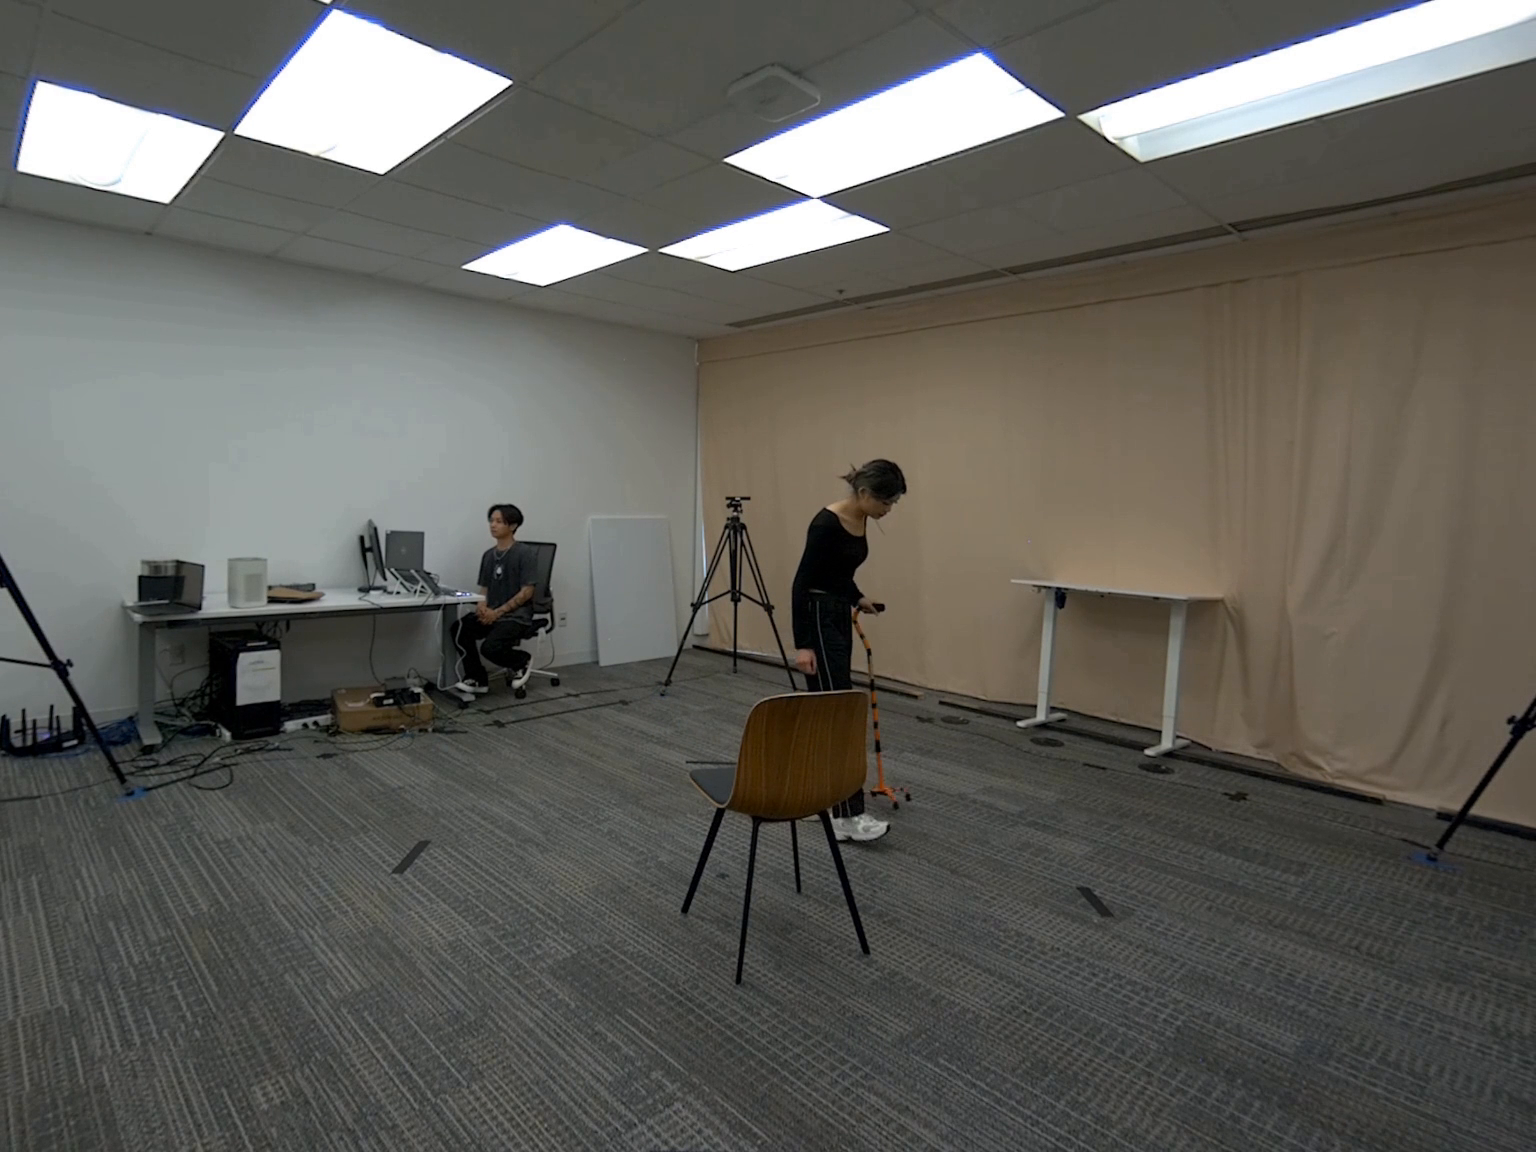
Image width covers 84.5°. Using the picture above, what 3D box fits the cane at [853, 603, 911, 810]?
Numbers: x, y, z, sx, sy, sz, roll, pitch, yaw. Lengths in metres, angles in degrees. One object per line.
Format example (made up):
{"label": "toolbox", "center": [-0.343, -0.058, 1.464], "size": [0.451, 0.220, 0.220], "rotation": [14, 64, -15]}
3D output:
{"label": "cane", "center": [0.477, 0.584, 3.831], "size": [0.211, 0.907, 0.148], "rotation": [-5, 1, 36]}
